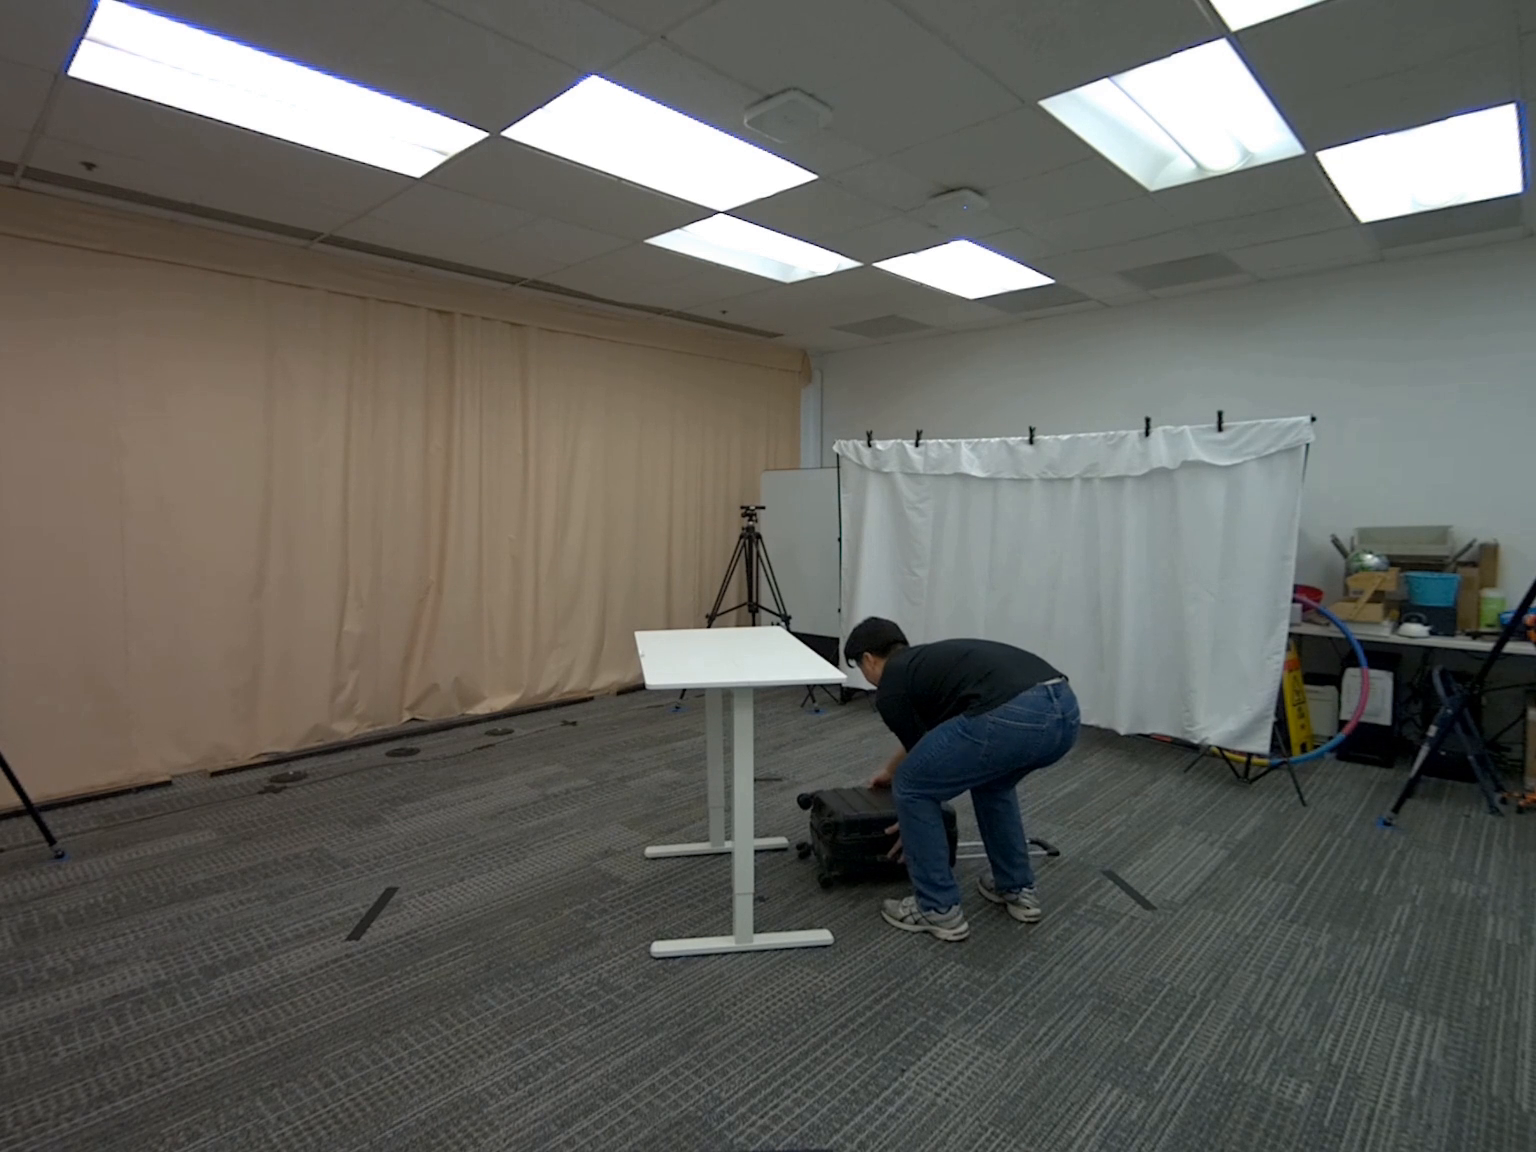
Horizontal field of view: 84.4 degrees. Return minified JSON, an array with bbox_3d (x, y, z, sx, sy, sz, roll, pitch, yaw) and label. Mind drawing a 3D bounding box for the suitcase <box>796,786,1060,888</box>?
[{"bbox_3d":[0.629,0.962,3.236,0.969,0.257,0.388,-3,3,-9],"label":"suitcase"}]
